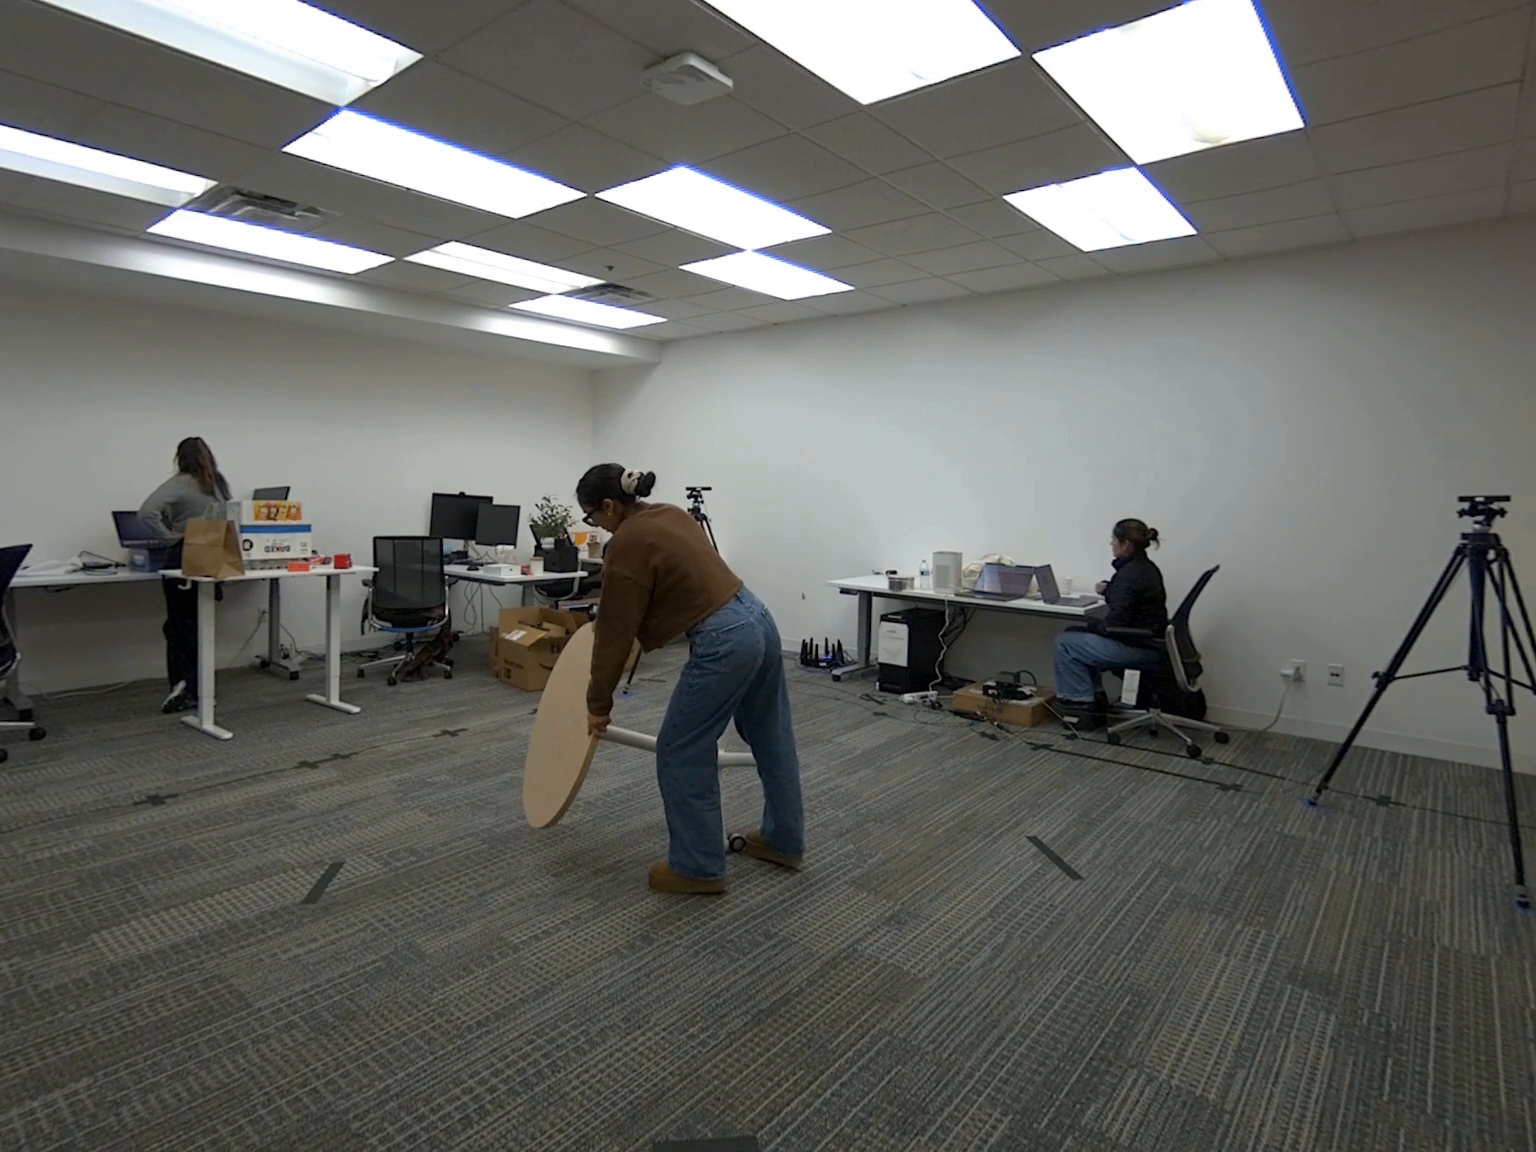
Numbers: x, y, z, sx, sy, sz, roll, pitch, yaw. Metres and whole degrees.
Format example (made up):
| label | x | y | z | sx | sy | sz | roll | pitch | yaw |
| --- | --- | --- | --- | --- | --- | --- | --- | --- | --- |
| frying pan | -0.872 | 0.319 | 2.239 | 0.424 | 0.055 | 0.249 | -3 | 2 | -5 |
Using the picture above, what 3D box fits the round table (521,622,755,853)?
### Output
| label | x | y | z | sx | sy | sz | roll | pitch | yaw |
| --- | --- | --- | --- | --- | --- | --- | --- | --- | --- |
| round table | -0.454 | 0.654 | 3.325 | 0.771 | 0.766 | 0.784 | 20 | -4 | -24 |
